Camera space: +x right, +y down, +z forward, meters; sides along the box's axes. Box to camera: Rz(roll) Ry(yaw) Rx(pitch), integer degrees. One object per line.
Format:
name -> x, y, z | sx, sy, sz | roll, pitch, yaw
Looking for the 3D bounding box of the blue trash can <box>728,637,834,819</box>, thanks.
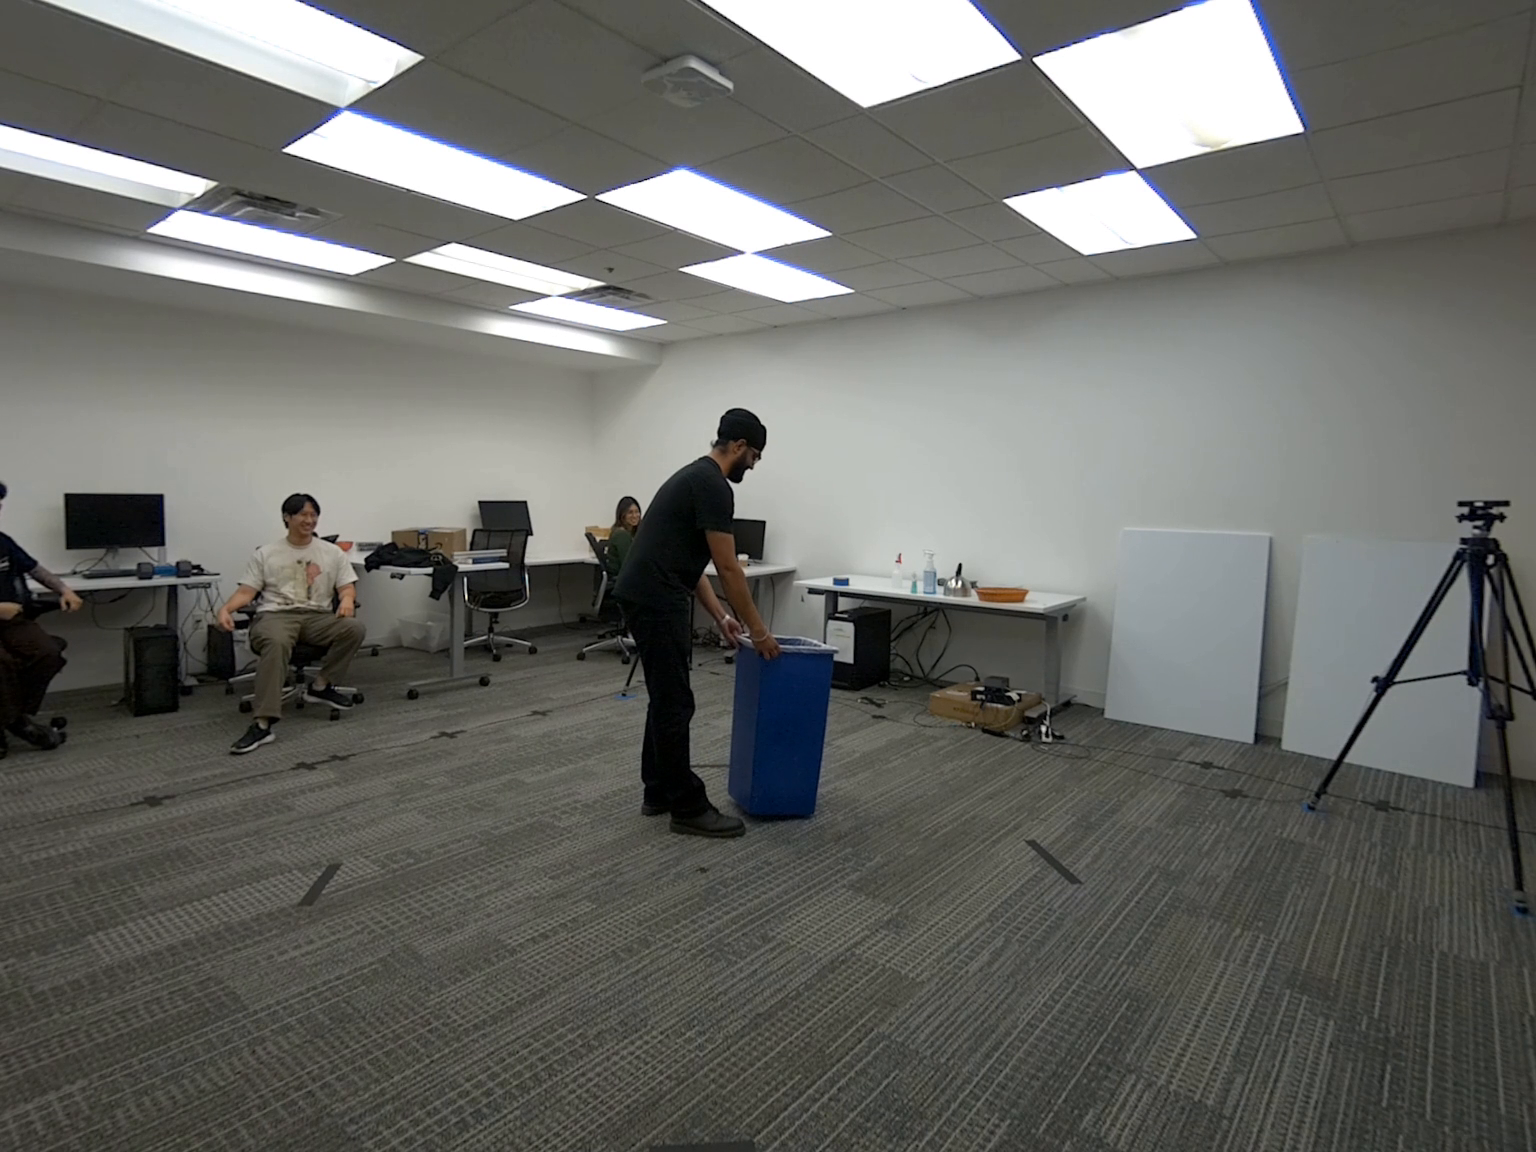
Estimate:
blue trash can -> 0.028, 0.641, 3.723 | 0.366, 0.714, 0.386 | 6, -1, -21
